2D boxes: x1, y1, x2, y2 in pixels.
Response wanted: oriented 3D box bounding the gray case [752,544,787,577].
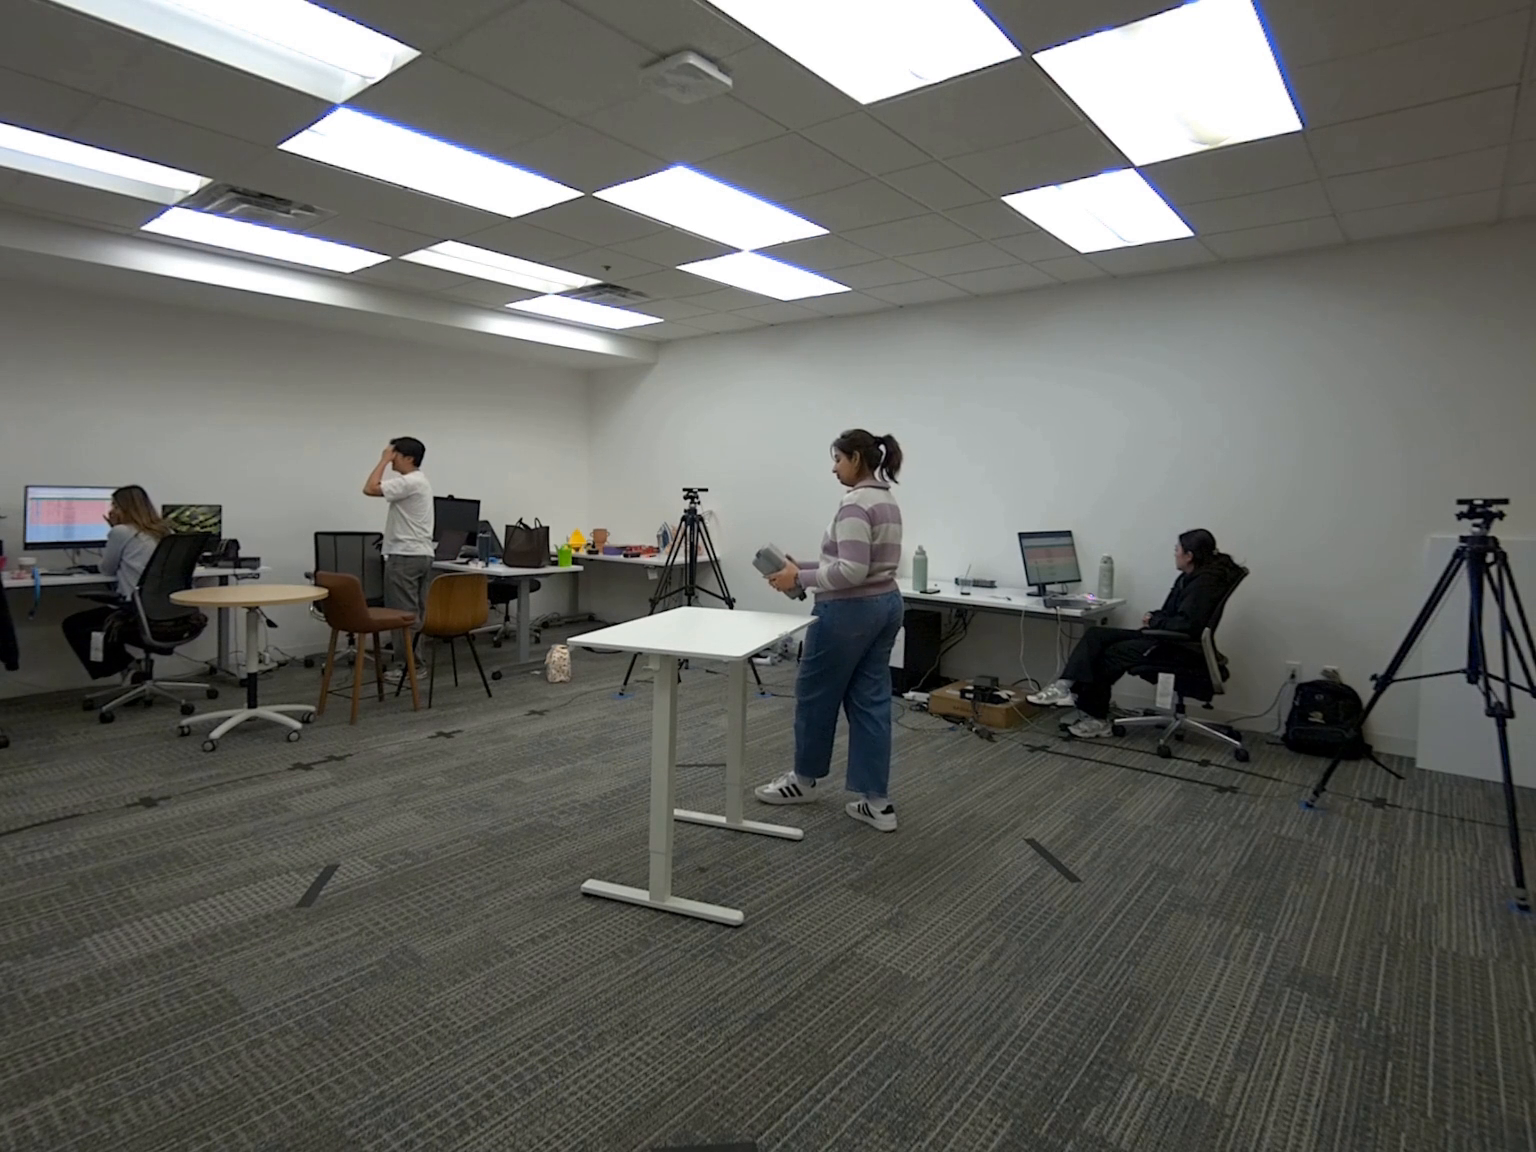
[{"bbox_3d":[0.047,-0.035,3.723,0.261,0.104,0.257,41,7,-1],"label":"gray case"}]
